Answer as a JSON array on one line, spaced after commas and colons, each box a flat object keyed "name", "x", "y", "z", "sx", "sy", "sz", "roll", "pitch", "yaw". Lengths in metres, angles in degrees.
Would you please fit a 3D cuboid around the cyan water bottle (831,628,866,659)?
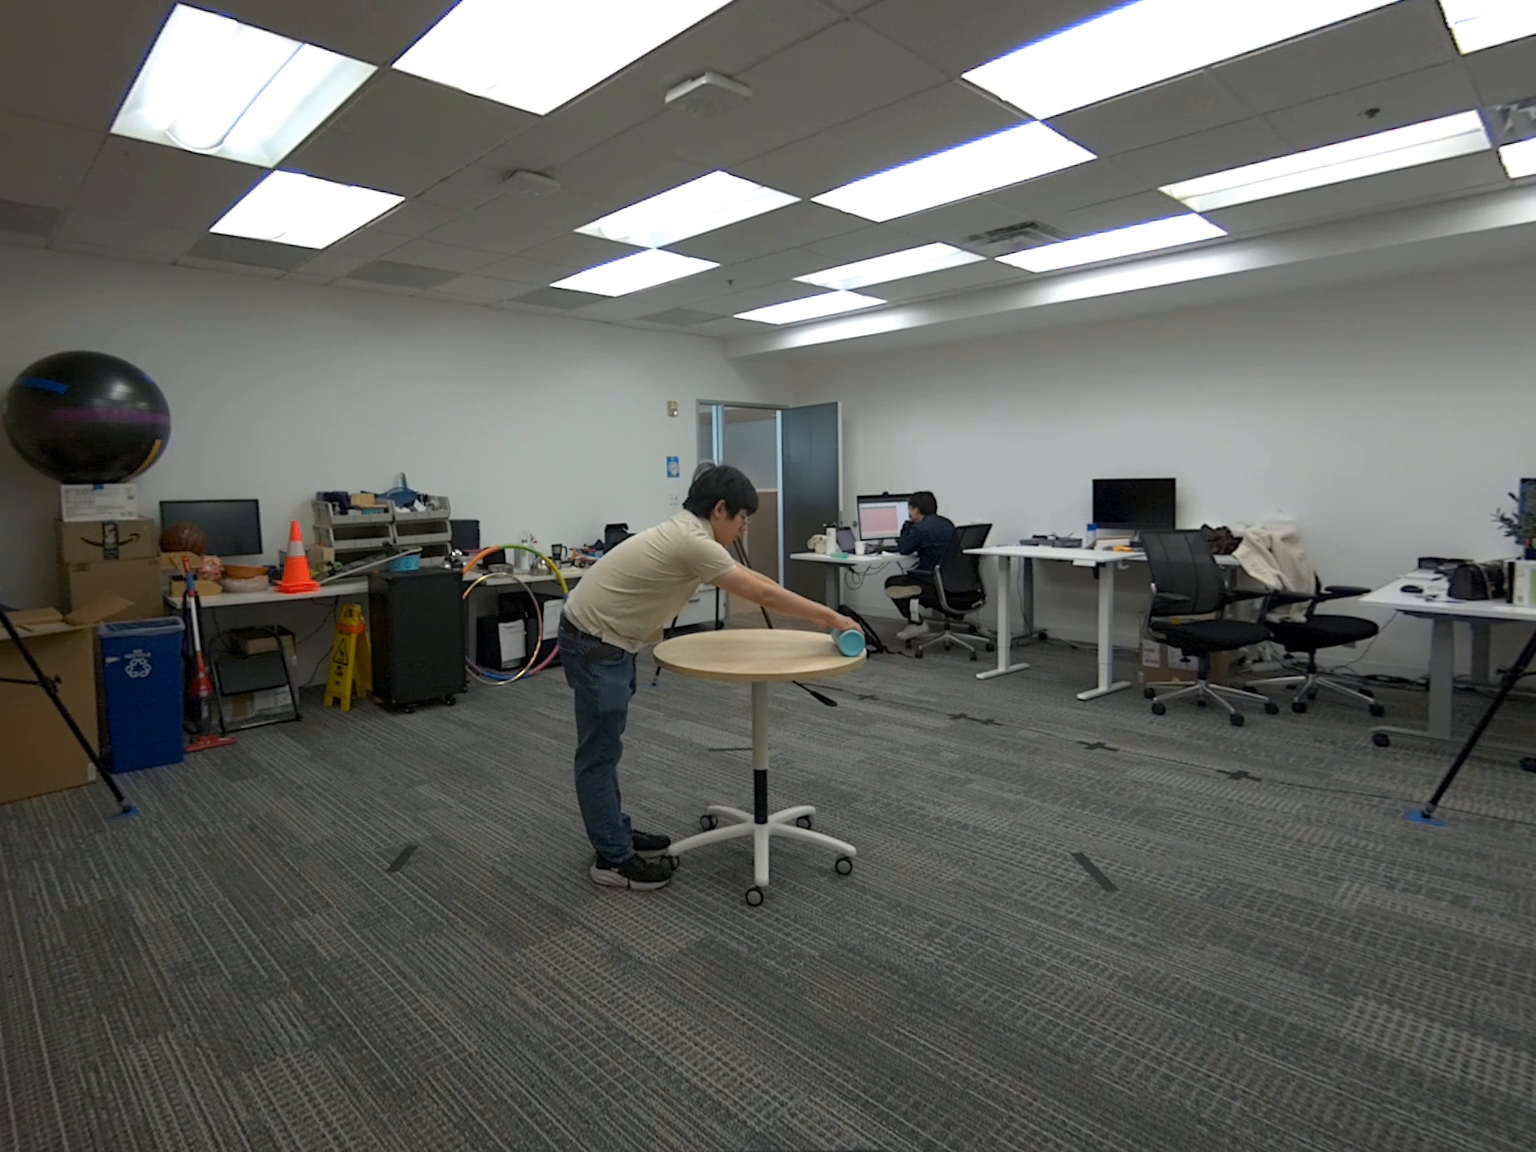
[{"name": "cyan water bottle", "x": 0.279, "y": 0.219, "z": 3.073, "sx": 0.092, "sy": 0.092, "sz": 0.285, "roll": -1, "pitch": 6, "yaw": -2}]
